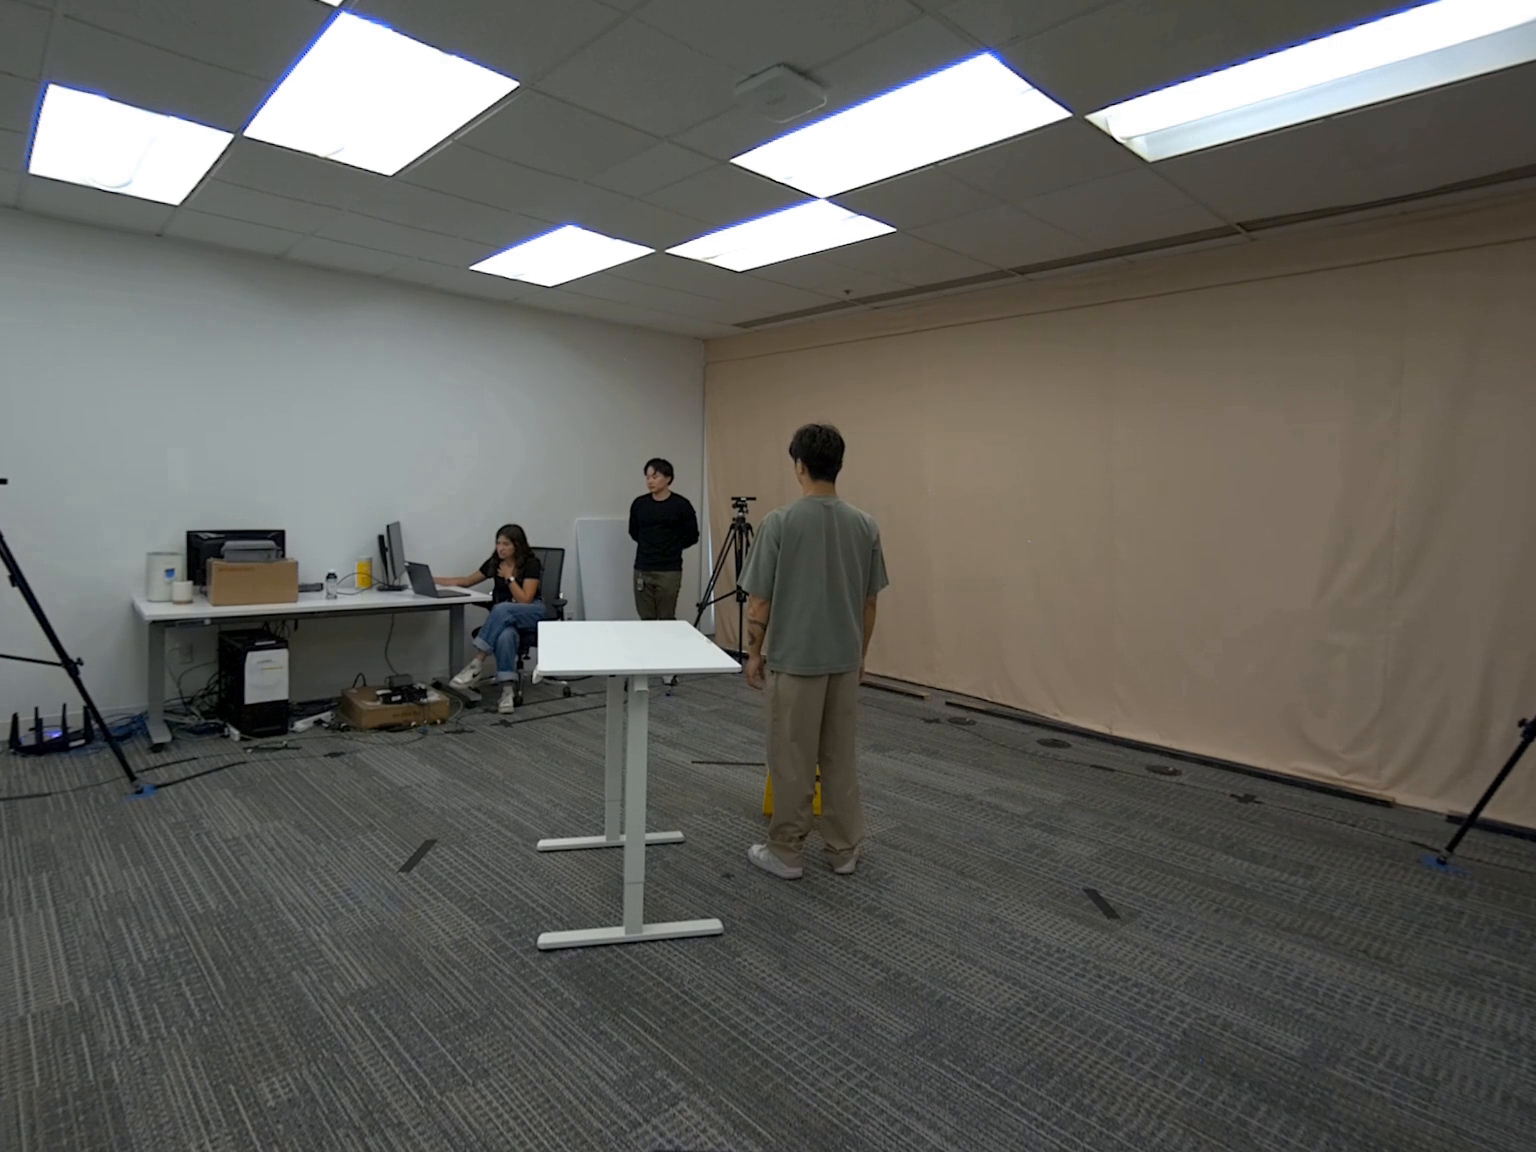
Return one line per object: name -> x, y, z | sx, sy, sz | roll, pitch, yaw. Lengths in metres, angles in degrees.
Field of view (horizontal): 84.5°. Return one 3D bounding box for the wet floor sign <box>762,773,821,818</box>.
wet floor sign -> 0.145, 0.743, 3.634 | 0.279, 0.645, 0.293 | 3, 1, -13
